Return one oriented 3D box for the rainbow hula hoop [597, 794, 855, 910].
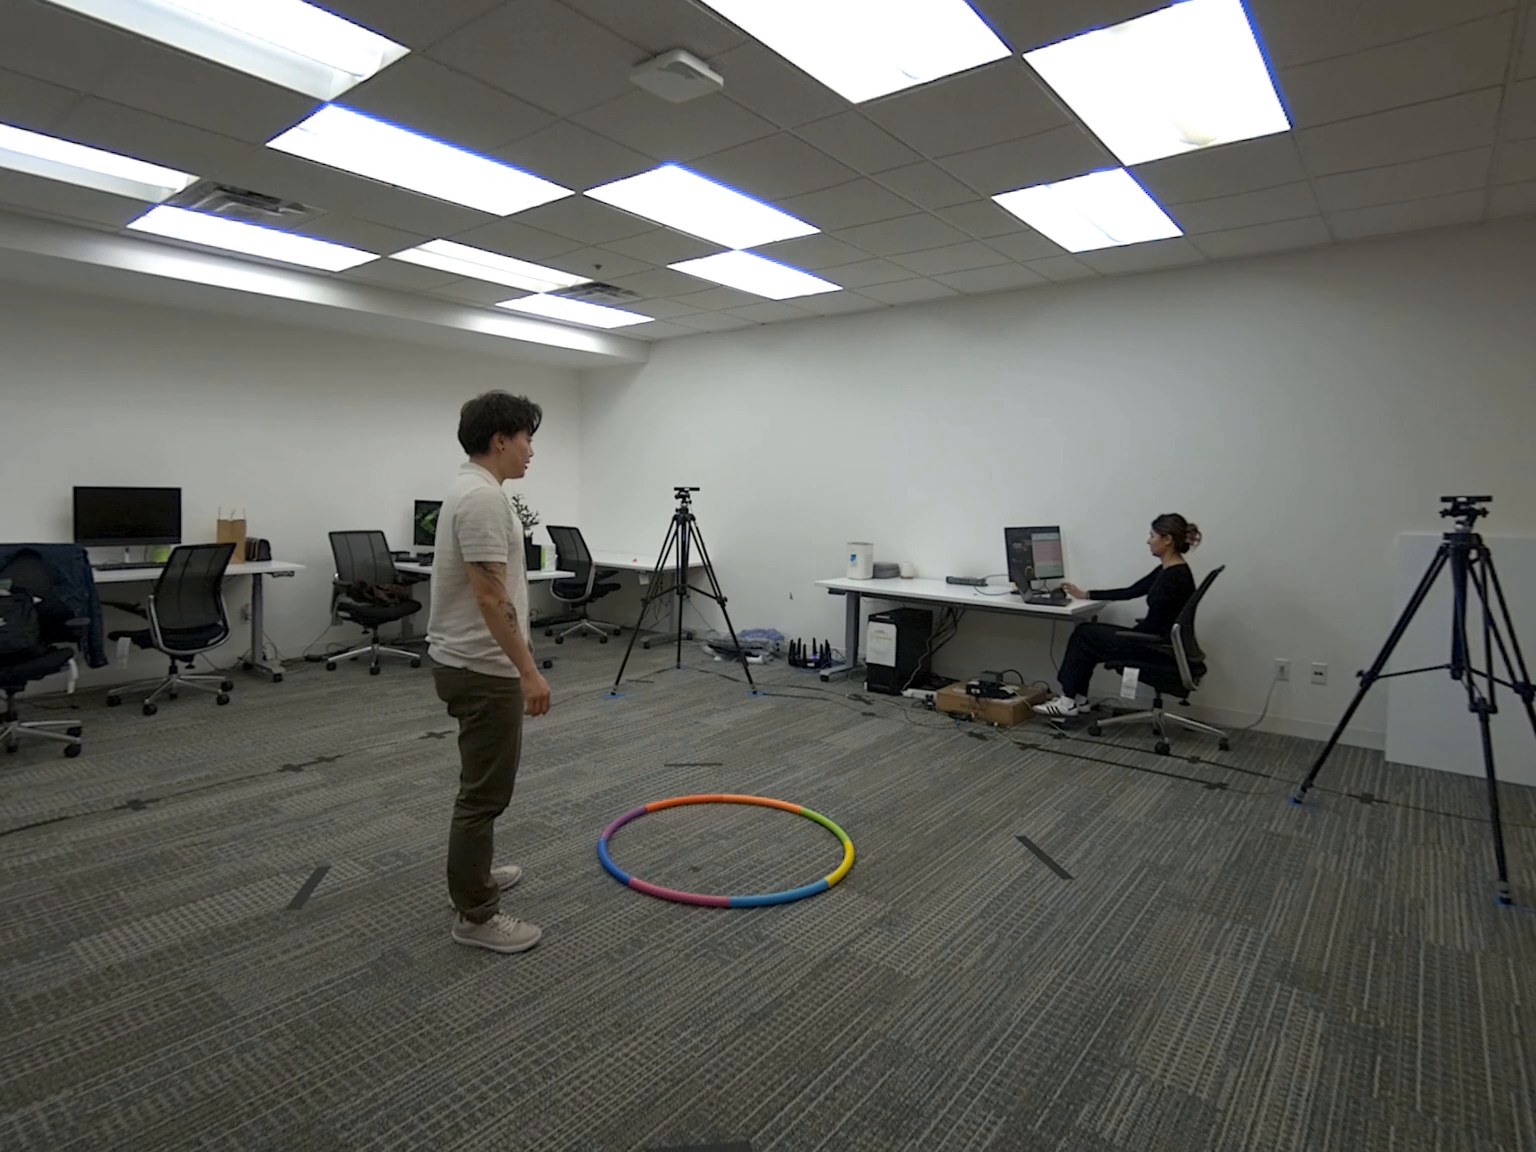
[{"bbox_3d":[-0.173,1.021,3.292,0.978,0.035,0.984,0,6,-2],"label":"rainbow hula hoop"}]
